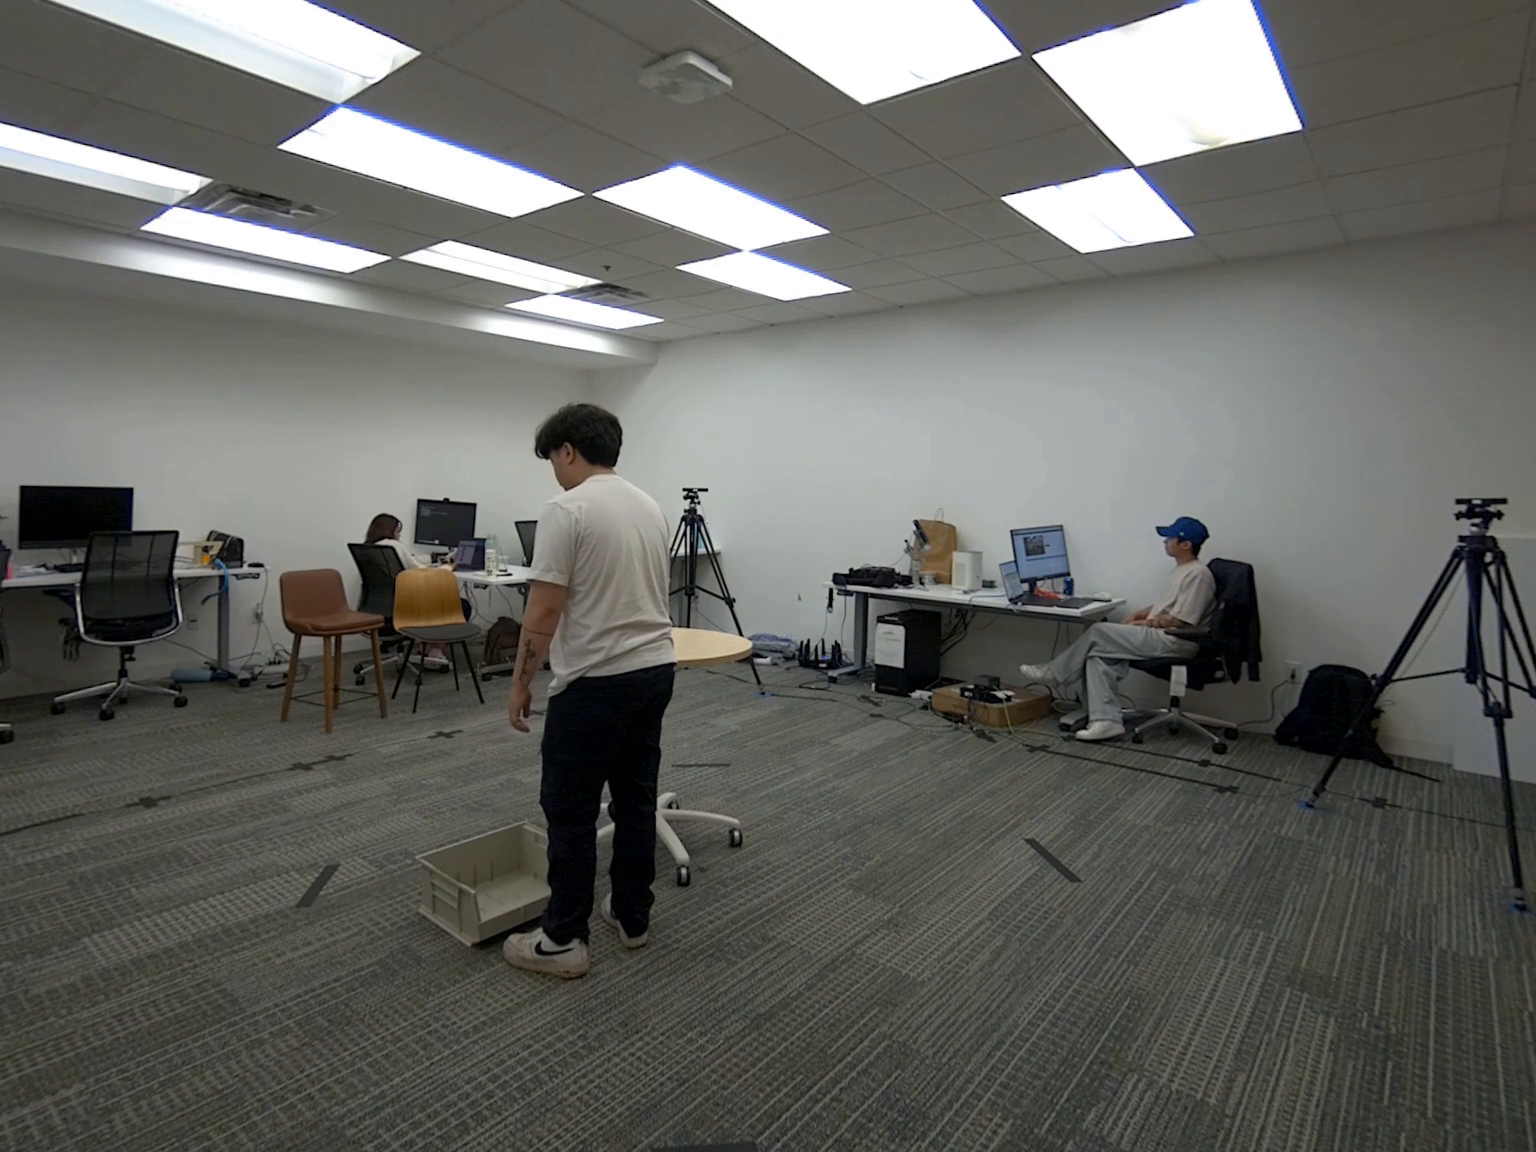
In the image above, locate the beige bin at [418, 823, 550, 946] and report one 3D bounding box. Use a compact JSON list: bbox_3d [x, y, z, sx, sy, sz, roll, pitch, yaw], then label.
[{"bbox_3d":[-0.880,1.002,2.791,0.390,0.188,0.410,4,6,41],"label":"beige bin"}]
